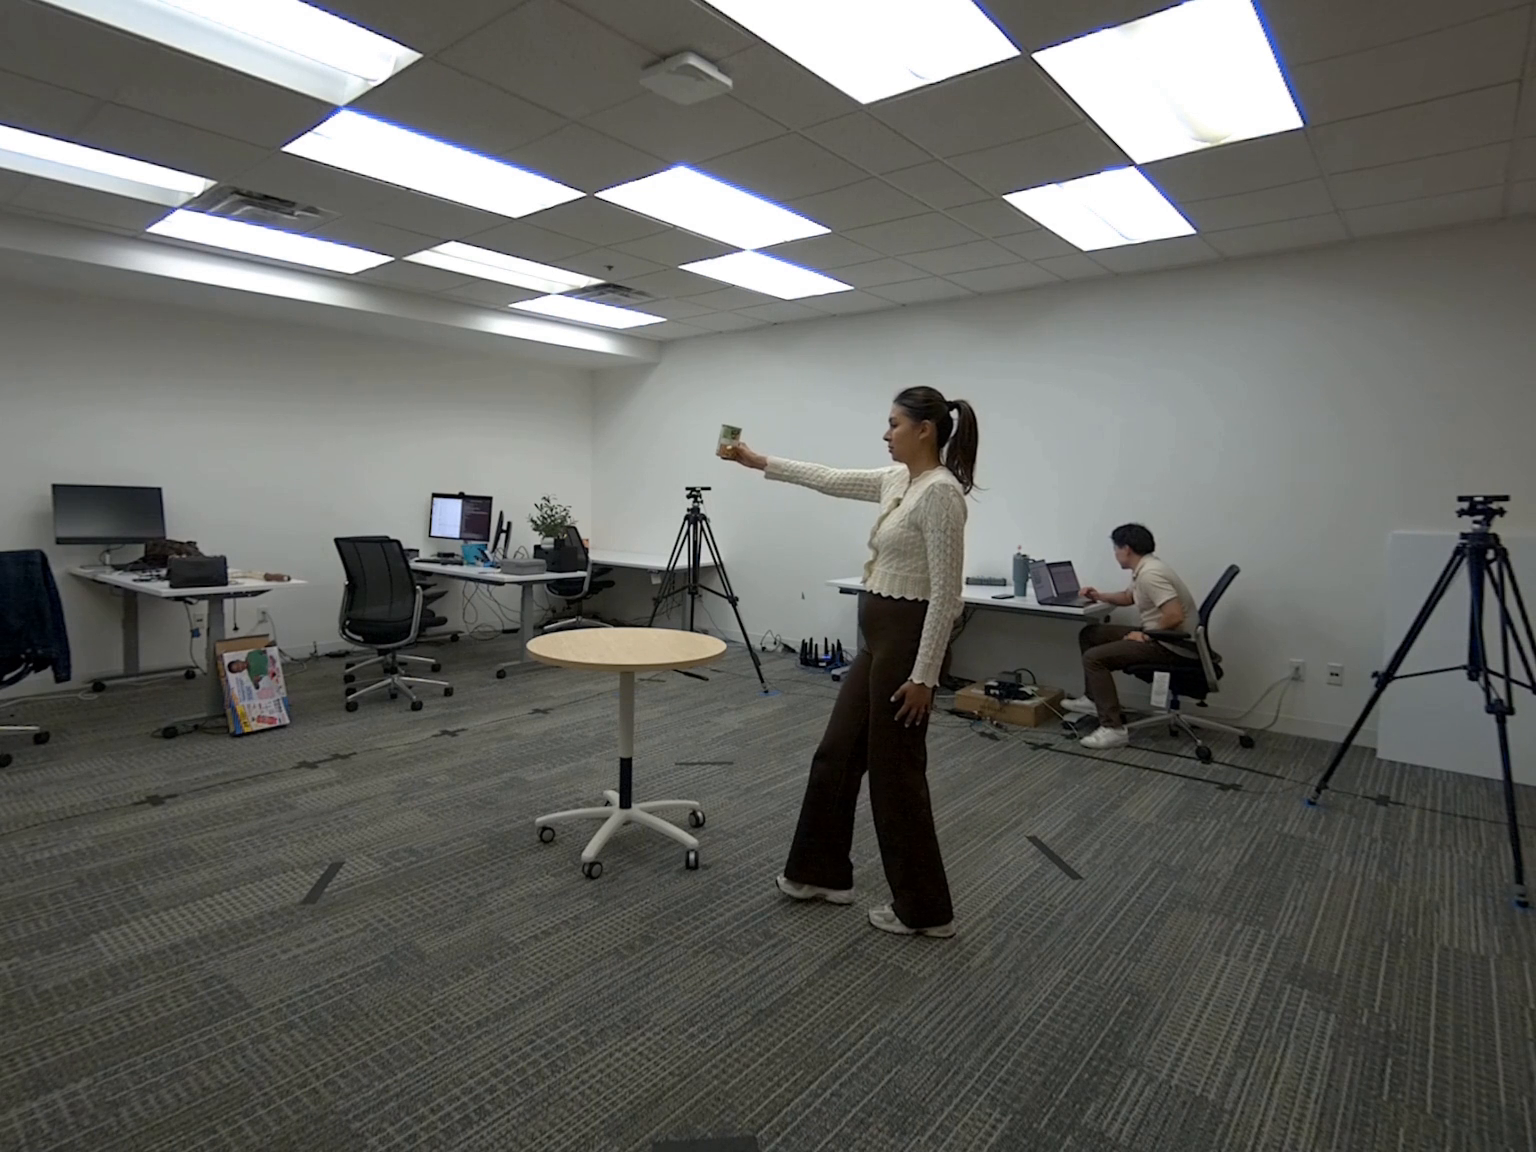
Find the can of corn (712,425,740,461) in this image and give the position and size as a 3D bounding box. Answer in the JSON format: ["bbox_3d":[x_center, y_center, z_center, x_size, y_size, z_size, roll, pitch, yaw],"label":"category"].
[{"bbox_3d":[-0.156,-0.485,3.051,0.074,0.110,0.075,12,10,-4],"label":"can of corn"}]
